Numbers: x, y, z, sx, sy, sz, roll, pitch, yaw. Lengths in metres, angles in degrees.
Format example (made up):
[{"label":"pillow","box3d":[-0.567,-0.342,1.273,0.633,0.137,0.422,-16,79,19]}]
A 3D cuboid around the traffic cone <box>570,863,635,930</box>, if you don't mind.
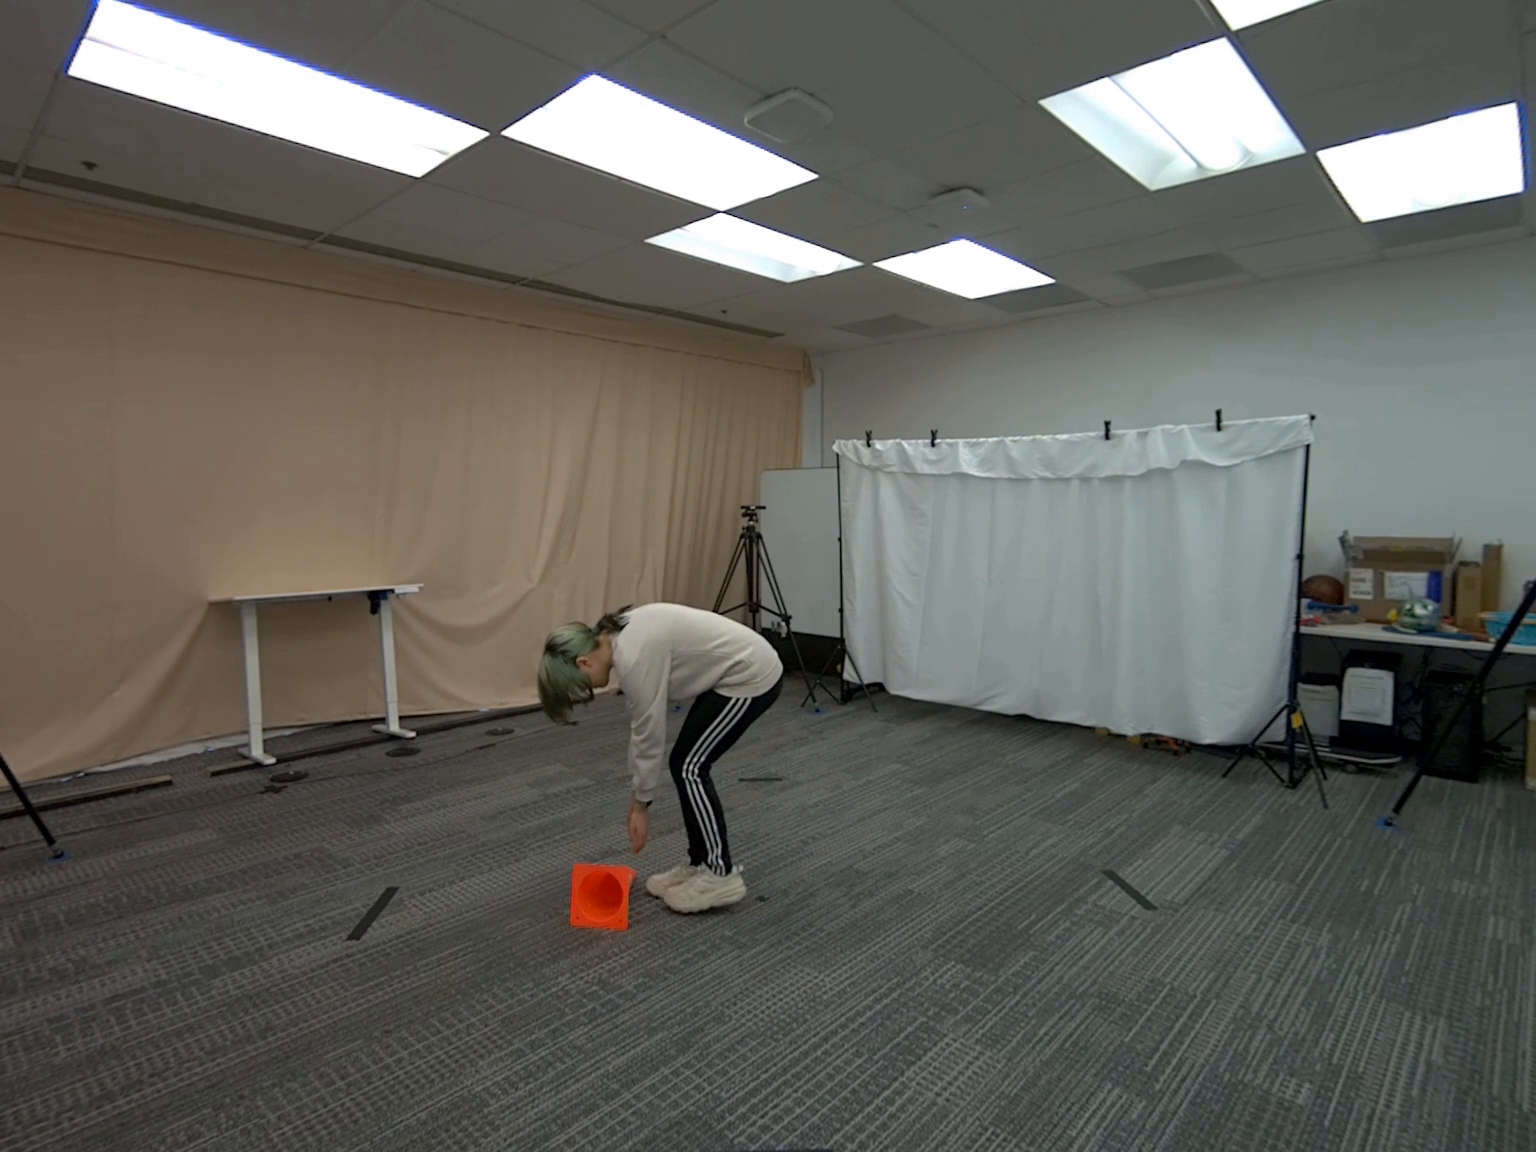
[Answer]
[{"label":"traffic cone","box3d":[-0.537,1.098,2.982,0.205,0.206,0.378,2,-9,8]}]
